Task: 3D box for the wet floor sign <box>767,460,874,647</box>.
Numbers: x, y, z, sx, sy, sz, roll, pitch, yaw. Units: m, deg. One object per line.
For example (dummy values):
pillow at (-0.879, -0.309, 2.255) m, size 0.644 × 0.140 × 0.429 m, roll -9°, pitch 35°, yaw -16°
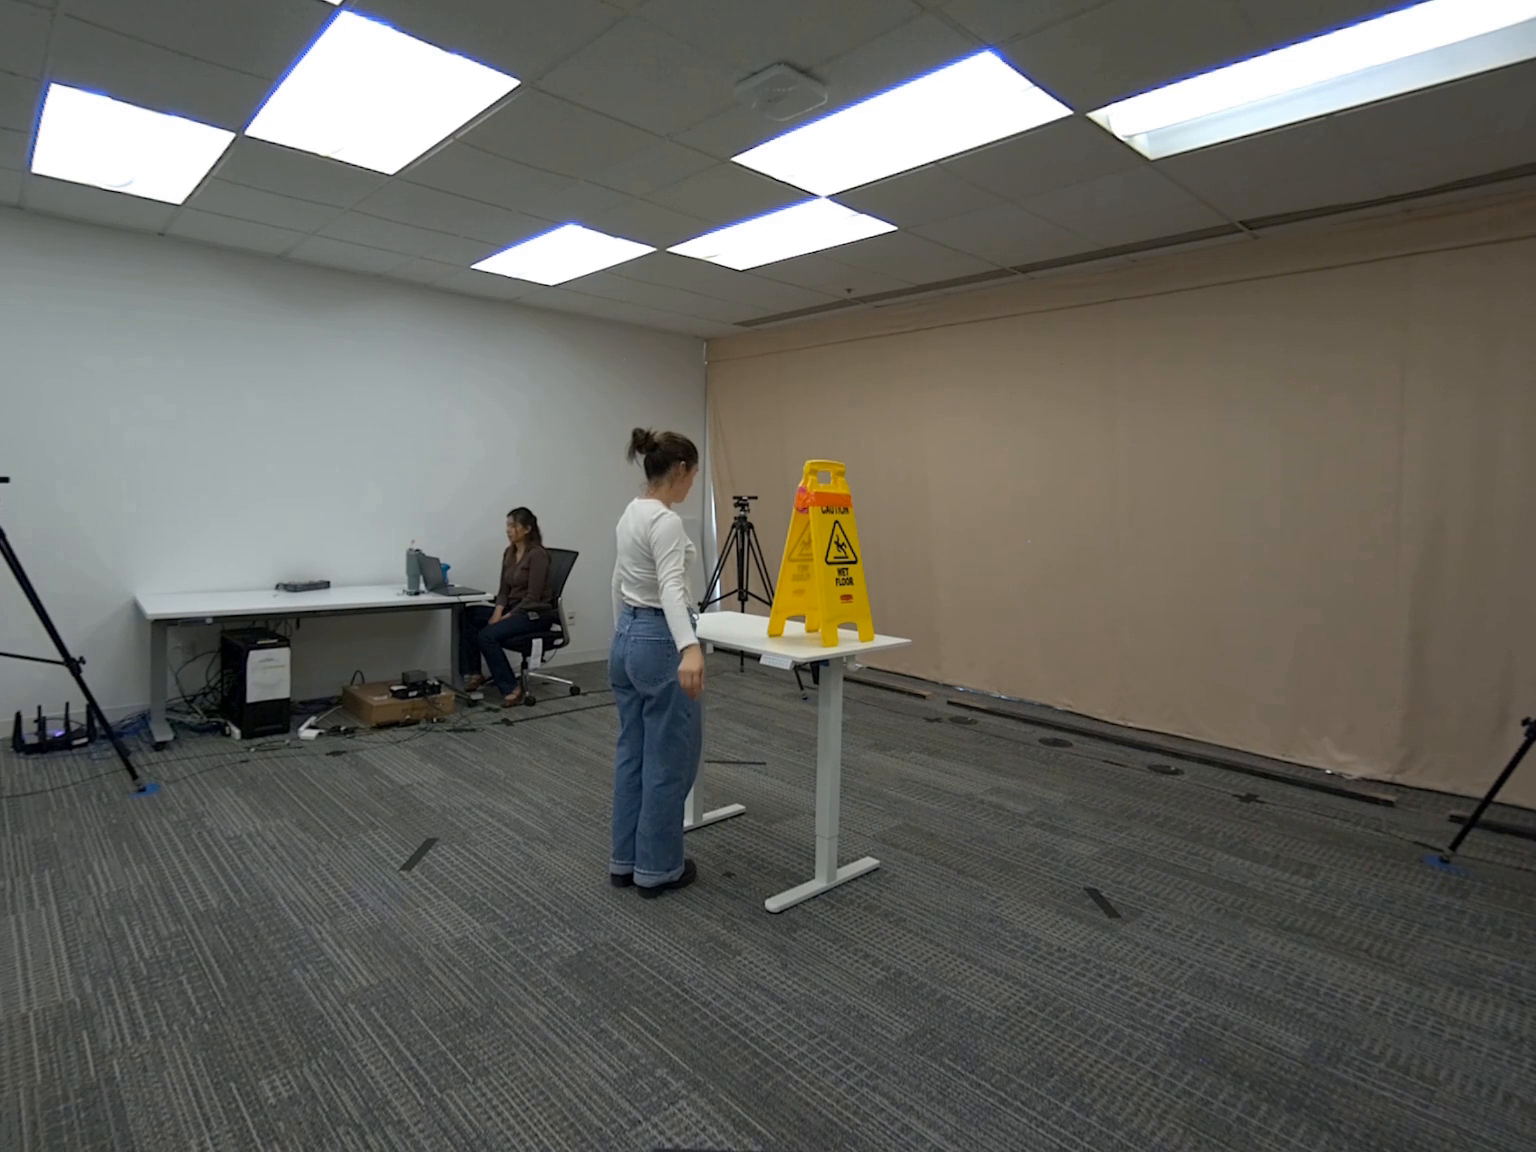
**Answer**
wet floor sign at (0.199, -0.091, 3.055) m, size 0.276 × 0.644 × 0.297 m, roll -2°, pitch 5°, yaw -45°
